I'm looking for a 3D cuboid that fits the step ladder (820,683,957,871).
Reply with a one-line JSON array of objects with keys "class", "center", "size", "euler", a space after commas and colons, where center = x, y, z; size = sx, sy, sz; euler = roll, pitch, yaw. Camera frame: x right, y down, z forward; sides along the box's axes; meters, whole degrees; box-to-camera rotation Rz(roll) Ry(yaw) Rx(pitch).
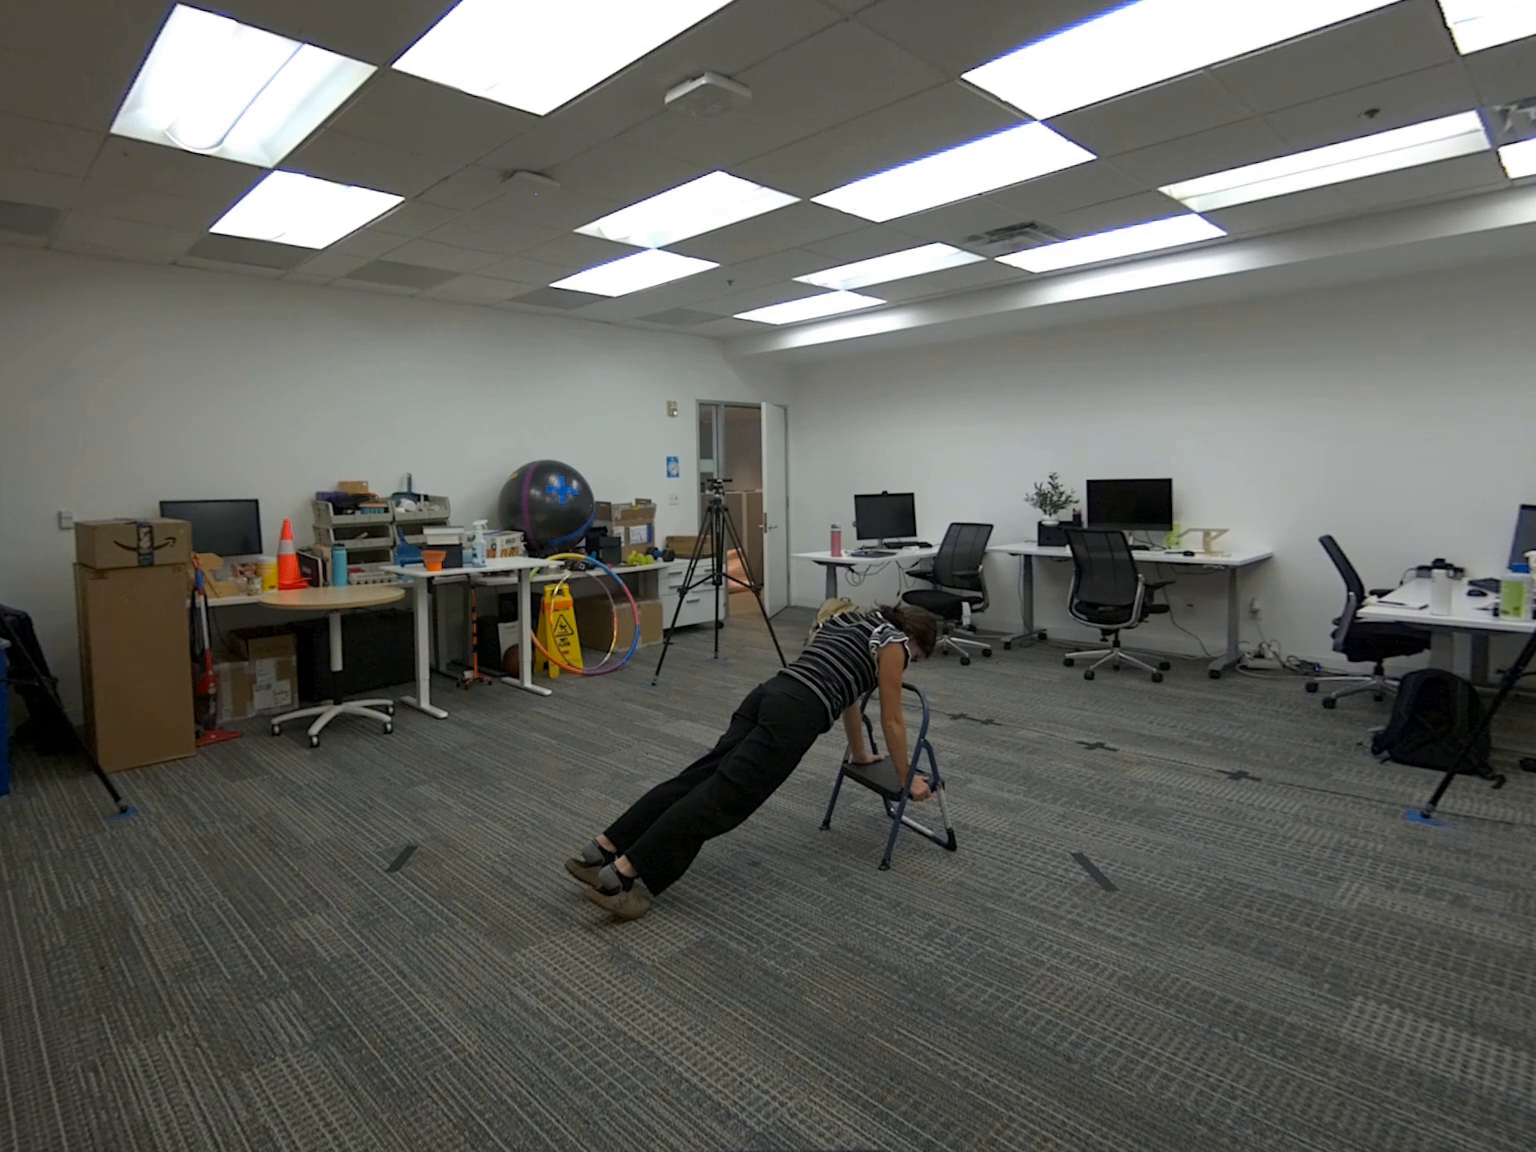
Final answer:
[{"class": "step ladder", "center": [0.456, 0.716, 3.280], "size": [0.341, 0.604, 0.442], "euler": [-2, 5, -28]}]
